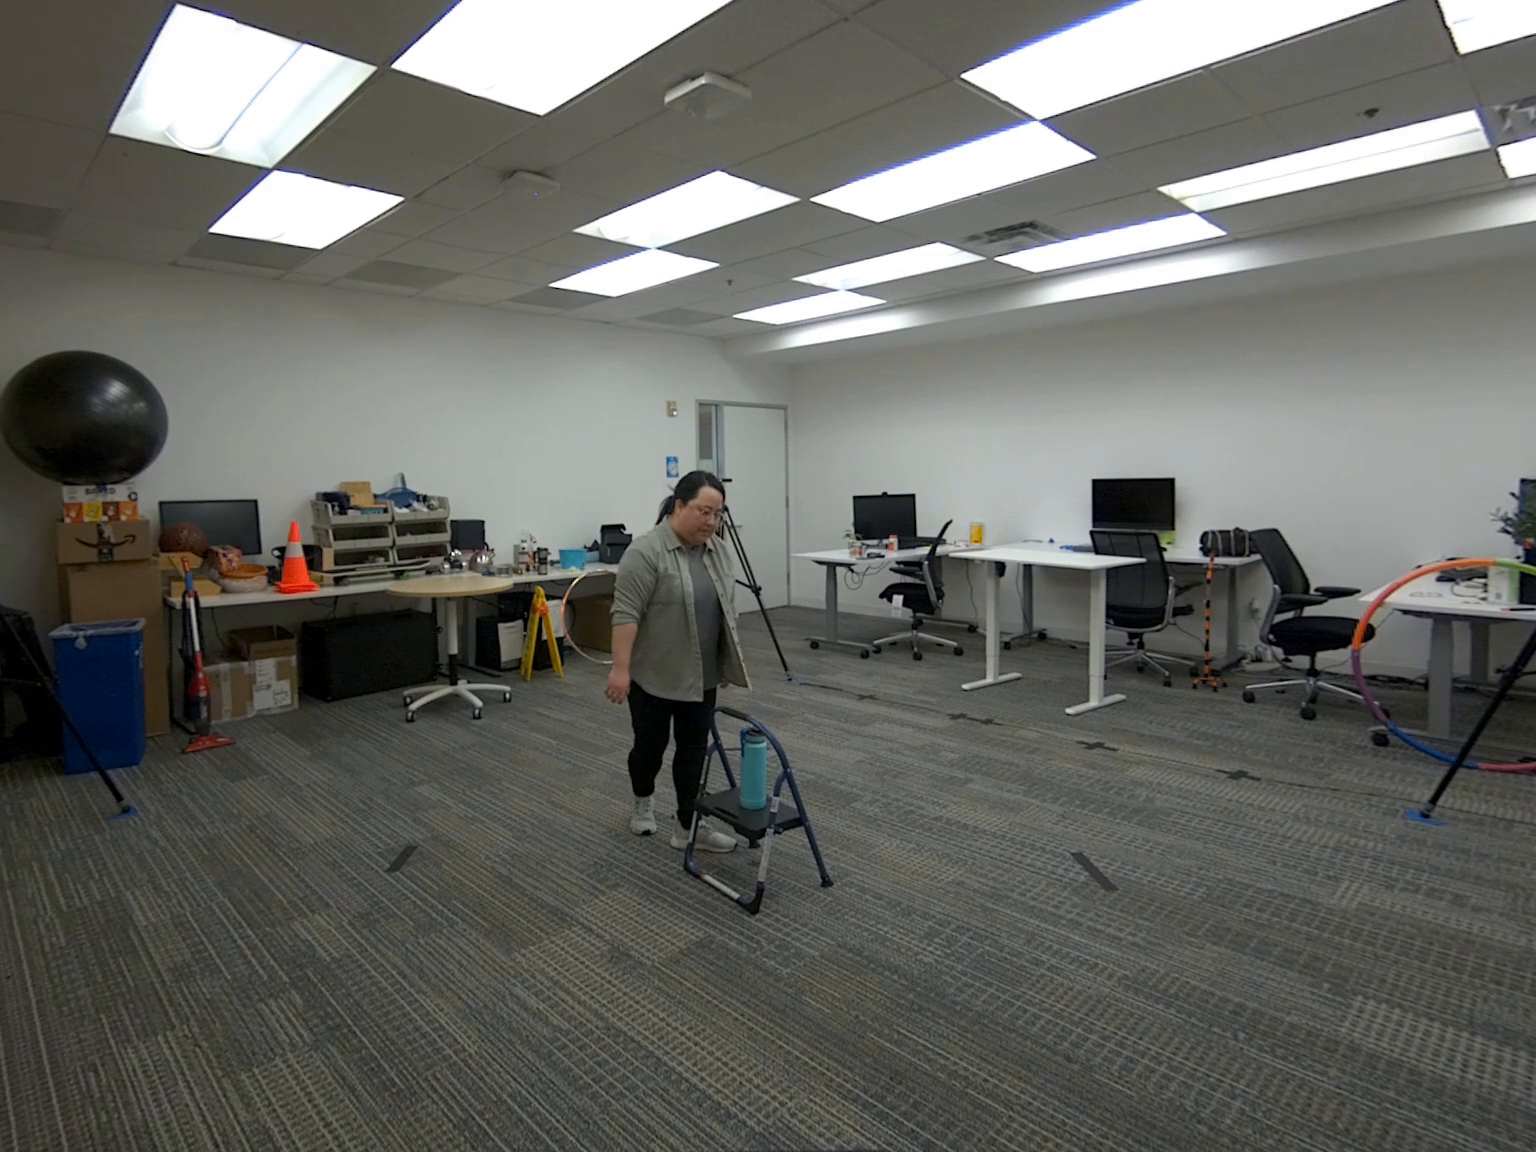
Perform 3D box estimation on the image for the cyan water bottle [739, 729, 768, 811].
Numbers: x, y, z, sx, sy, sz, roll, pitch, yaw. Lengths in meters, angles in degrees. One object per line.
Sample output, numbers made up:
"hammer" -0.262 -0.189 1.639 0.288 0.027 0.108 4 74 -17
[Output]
"cyan water bottle" -0.046 0.661 2.959 0.092 0.282 0.093 1 4 -2
